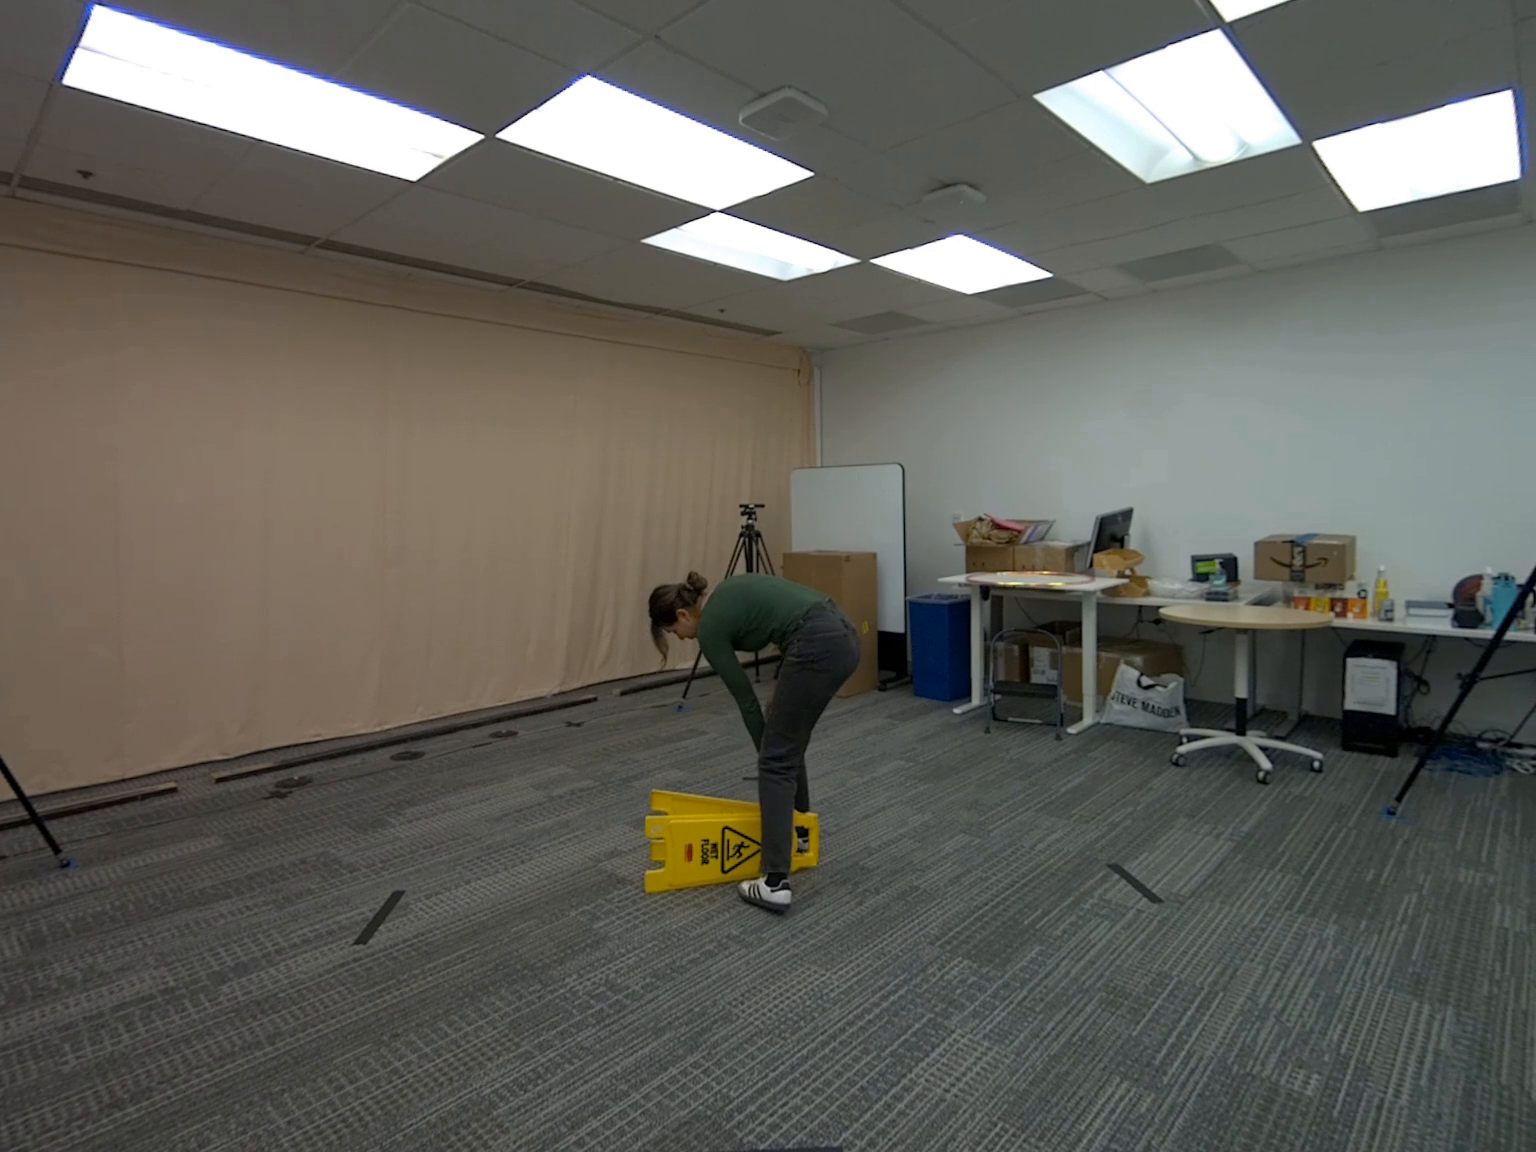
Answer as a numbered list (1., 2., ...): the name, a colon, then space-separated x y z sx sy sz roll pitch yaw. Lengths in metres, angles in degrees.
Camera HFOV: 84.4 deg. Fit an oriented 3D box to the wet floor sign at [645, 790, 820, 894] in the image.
1. wet floor sign: -0.131 0.991 3.181 0.645 0.282 0.290 1 3 -1
